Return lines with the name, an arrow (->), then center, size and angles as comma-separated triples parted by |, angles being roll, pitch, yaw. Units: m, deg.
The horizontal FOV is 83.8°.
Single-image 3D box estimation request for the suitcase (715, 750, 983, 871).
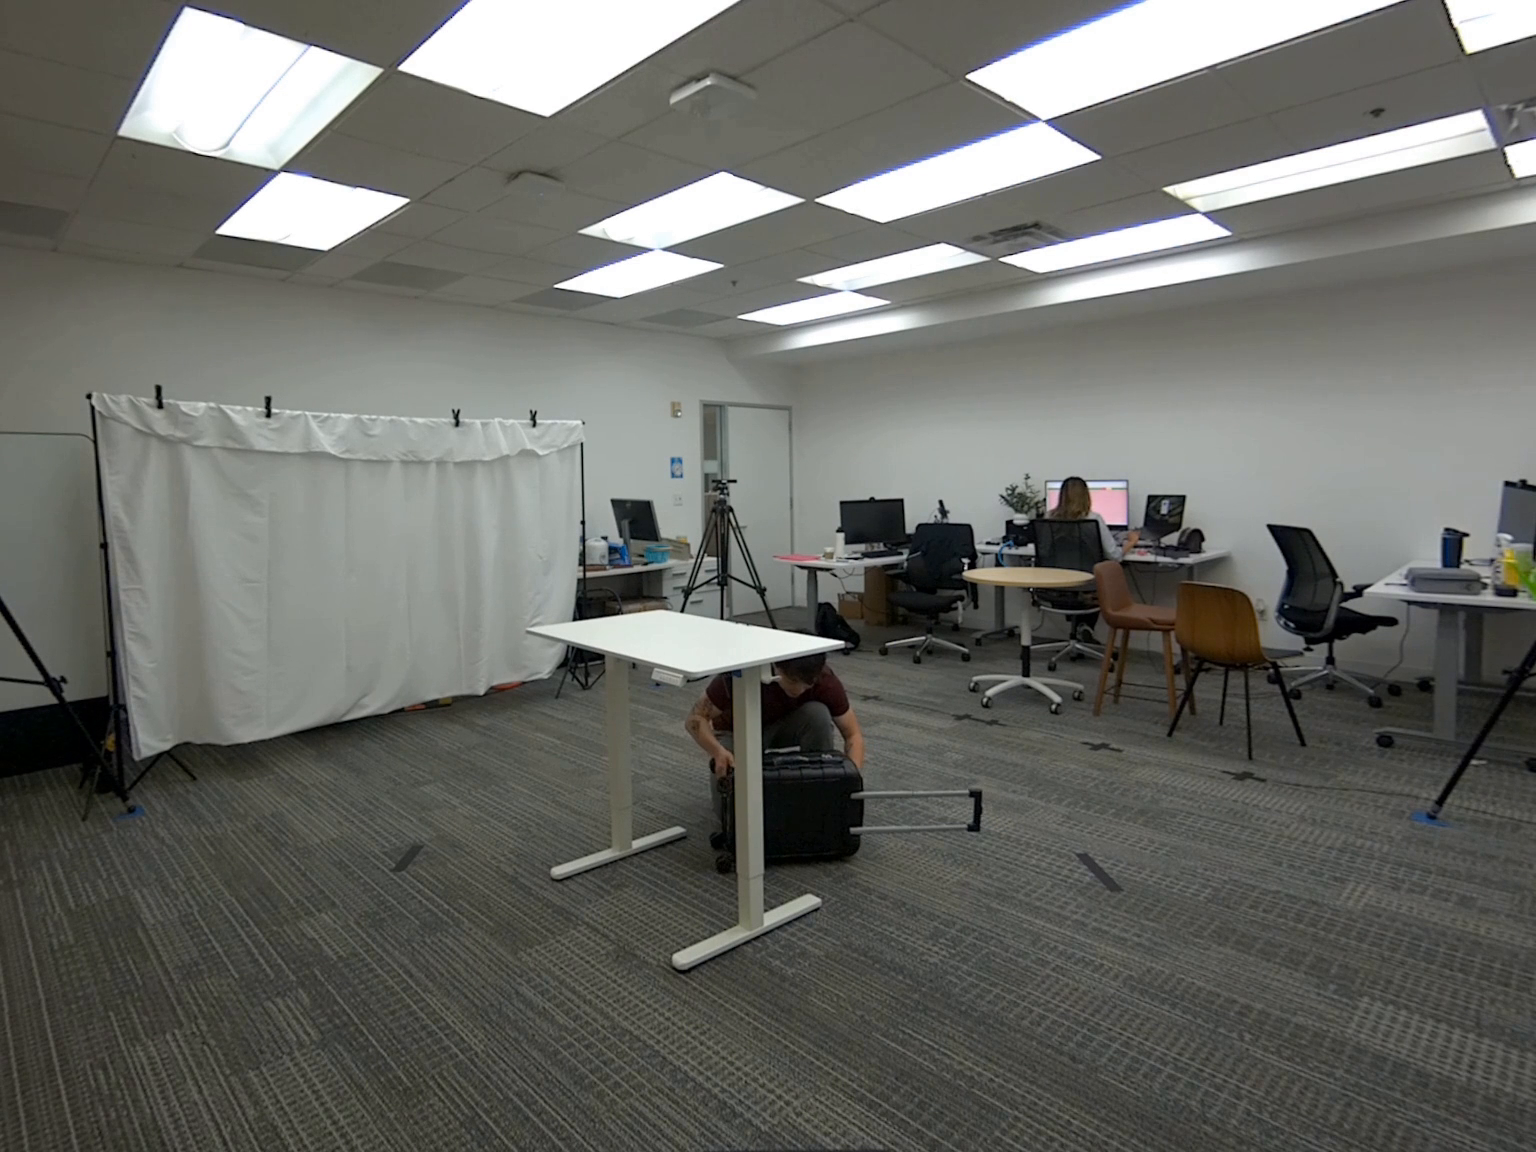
suitcase -> 0.274, 0.846, 3.198 | 0.970, 0.382, 0.260 | -1, 5, -9
